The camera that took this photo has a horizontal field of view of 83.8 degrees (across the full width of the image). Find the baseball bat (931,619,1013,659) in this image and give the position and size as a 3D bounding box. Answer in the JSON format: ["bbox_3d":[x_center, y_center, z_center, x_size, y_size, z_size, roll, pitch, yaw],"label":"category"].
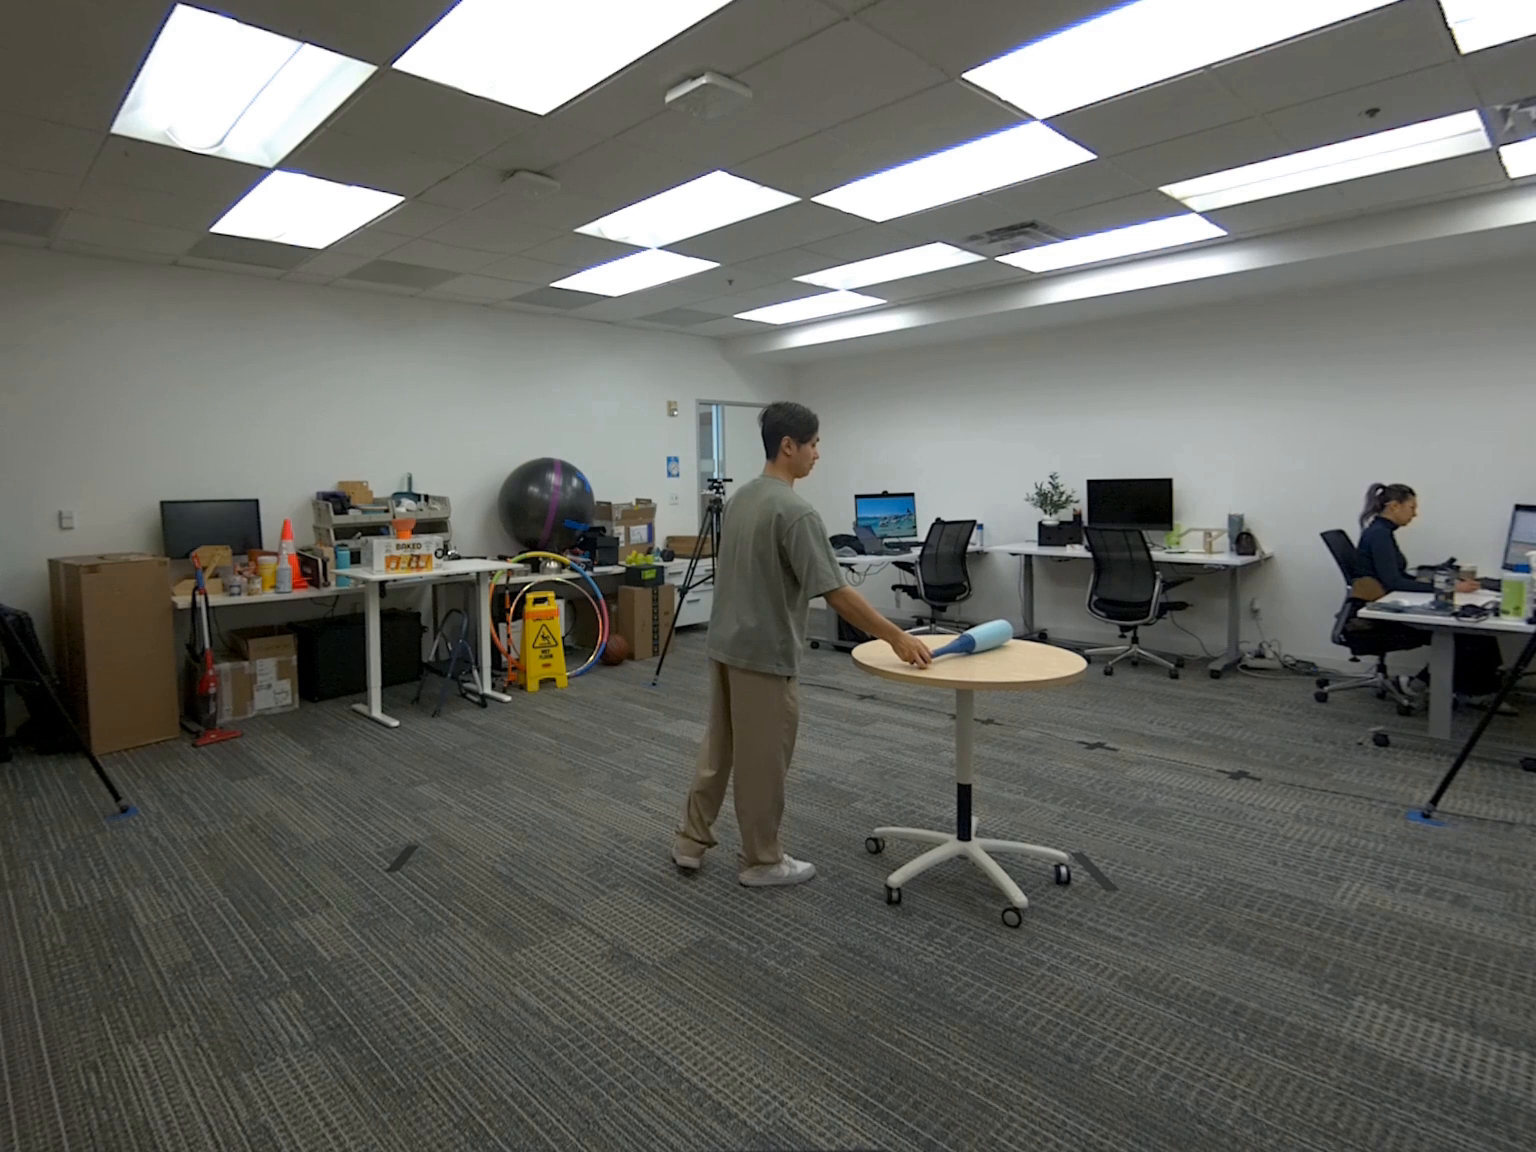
[{"bbox_3d":[0.666,0.231,2.919,0.529,0.088,0.092,-9,9,-43],"label":"baseball bat"}]
